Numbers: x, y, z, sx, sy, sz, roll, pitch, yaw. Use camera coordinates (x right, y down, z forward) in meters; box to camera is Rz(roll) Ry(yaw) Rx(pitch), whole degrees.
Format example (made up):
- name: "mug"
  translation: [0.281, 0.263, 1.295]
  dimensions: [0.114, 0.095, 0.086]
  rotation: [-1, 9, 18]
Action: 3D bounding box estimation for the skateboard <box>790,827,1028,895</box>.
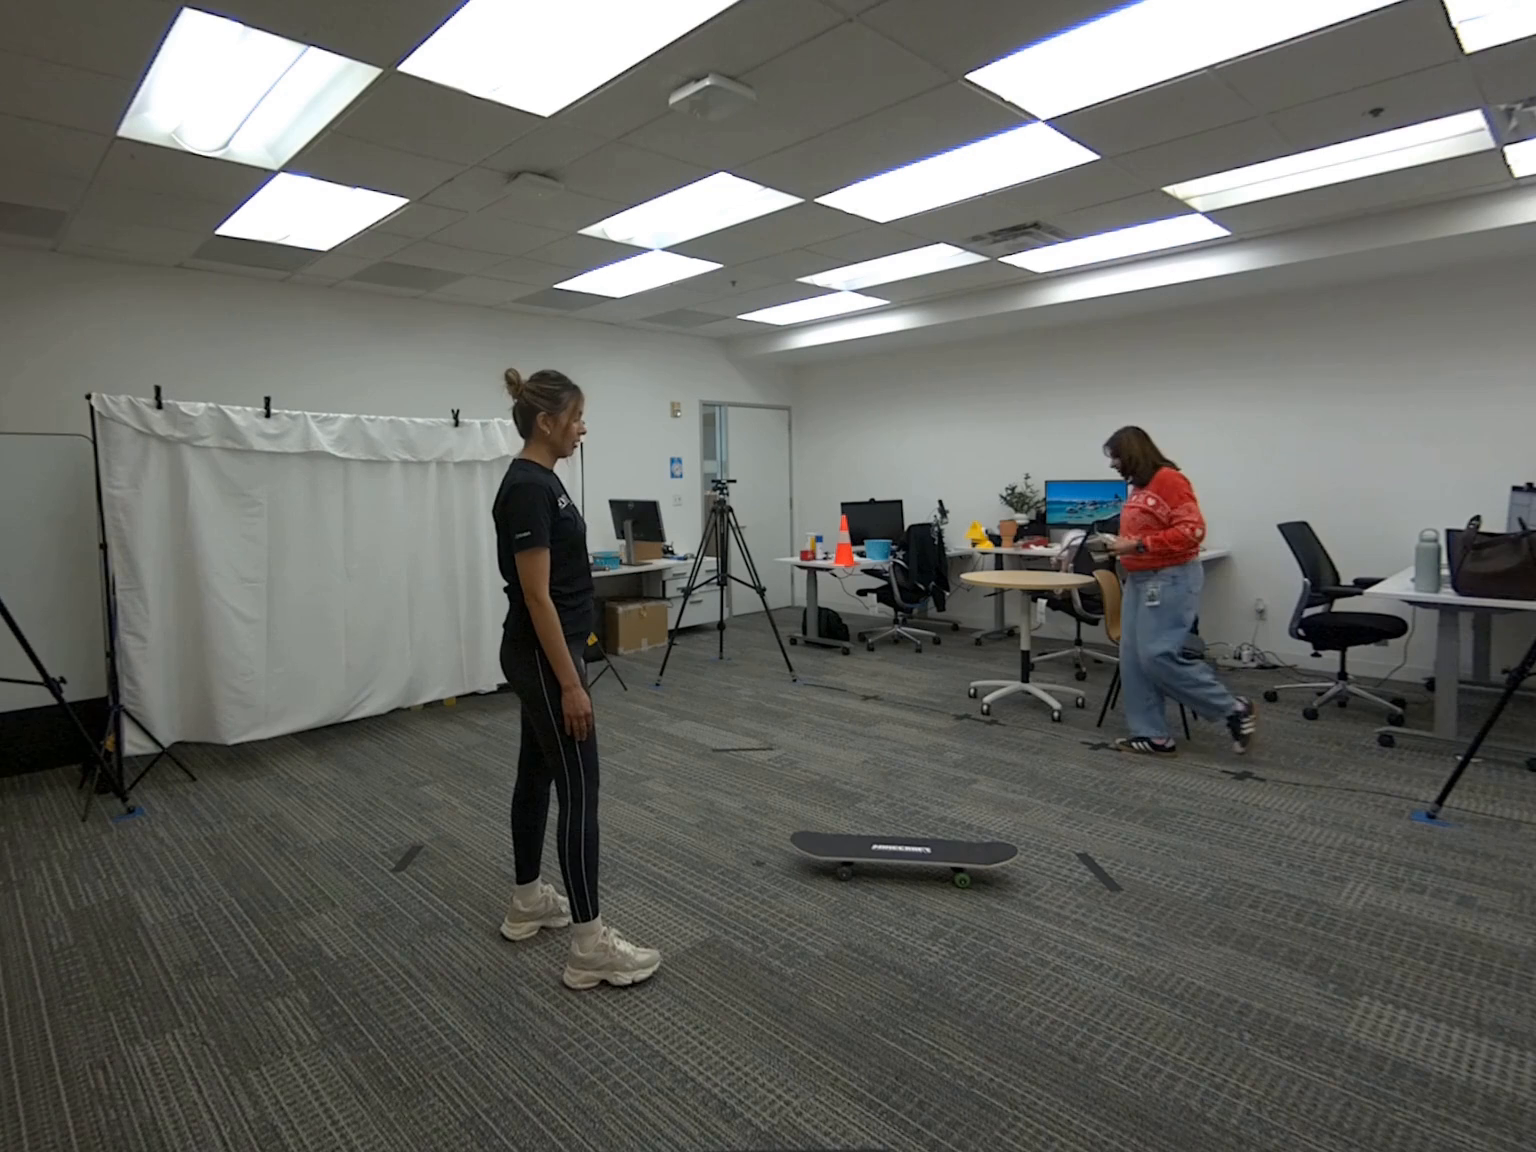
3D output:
- name: "skateboard"
  translation: [0.480, 0.992, 3.010]
  dimensions: [0.793, 0.110, 0.192]
  rotation: [0, 6, 10]
